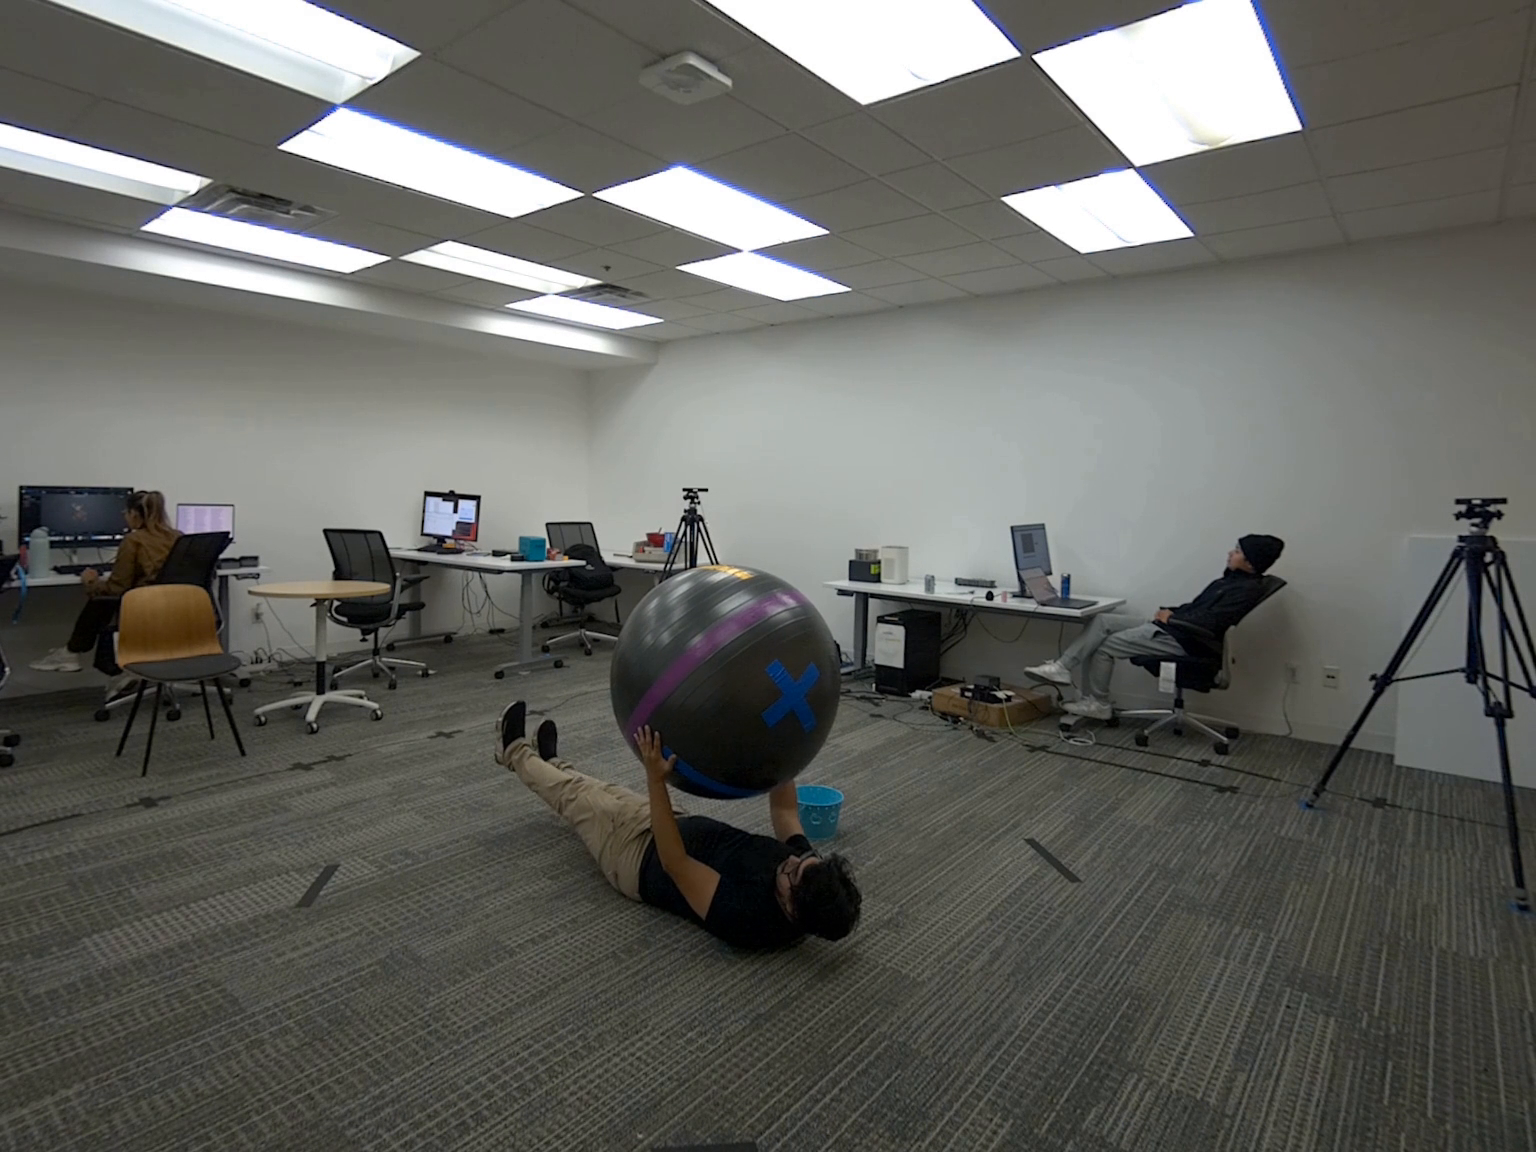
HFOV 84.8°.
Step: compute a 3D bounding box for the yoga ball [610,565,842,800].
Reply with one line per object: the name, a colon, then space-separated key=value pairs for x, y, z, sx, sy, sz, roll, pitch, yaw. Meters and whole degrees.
yoga ball: x=-0.147 y=0.347 z=2.797 sx=0.757 sy=0.756 sz=0.761 roll=0 pitch=4 yaw=-2
